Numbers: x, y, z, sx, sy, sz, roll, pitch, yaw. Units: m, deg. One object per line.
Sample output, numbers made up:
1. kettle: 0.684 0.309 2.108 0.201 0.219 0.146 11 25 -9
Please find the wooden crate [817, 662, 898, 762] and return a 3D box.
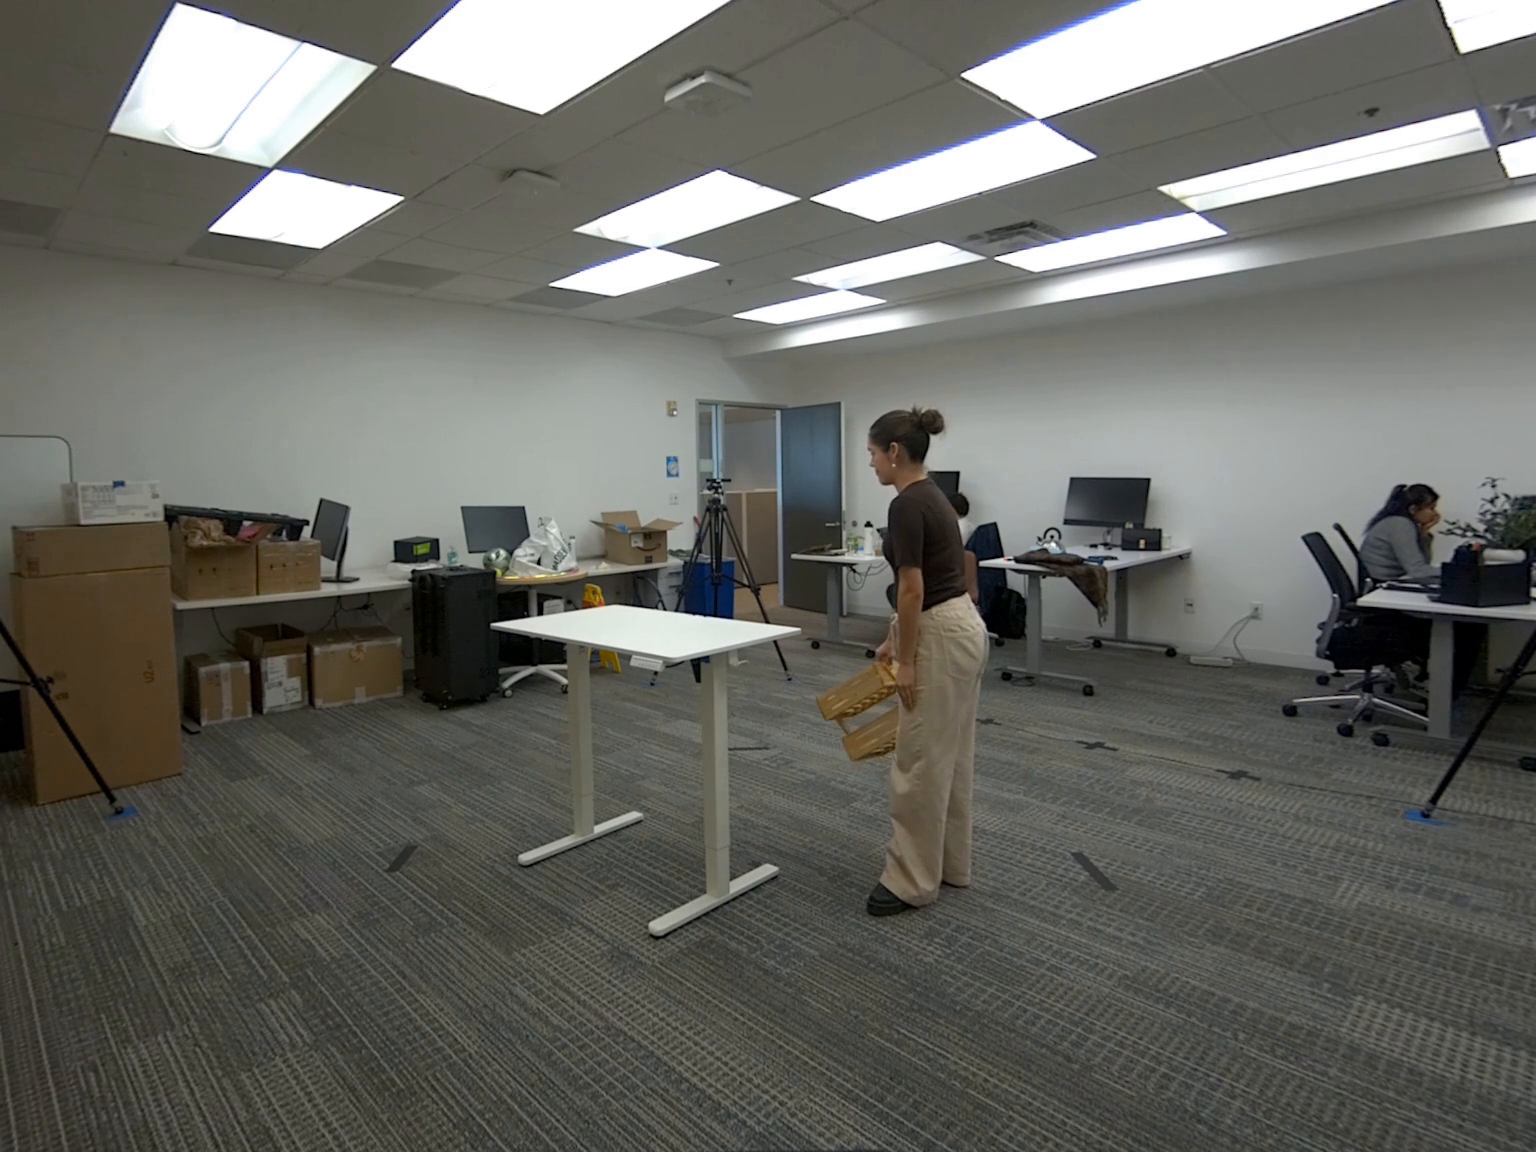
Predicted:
1. wooden crate: 0.429 0.507 3.220 0.326 0.280 0.292 -37 -26 32
